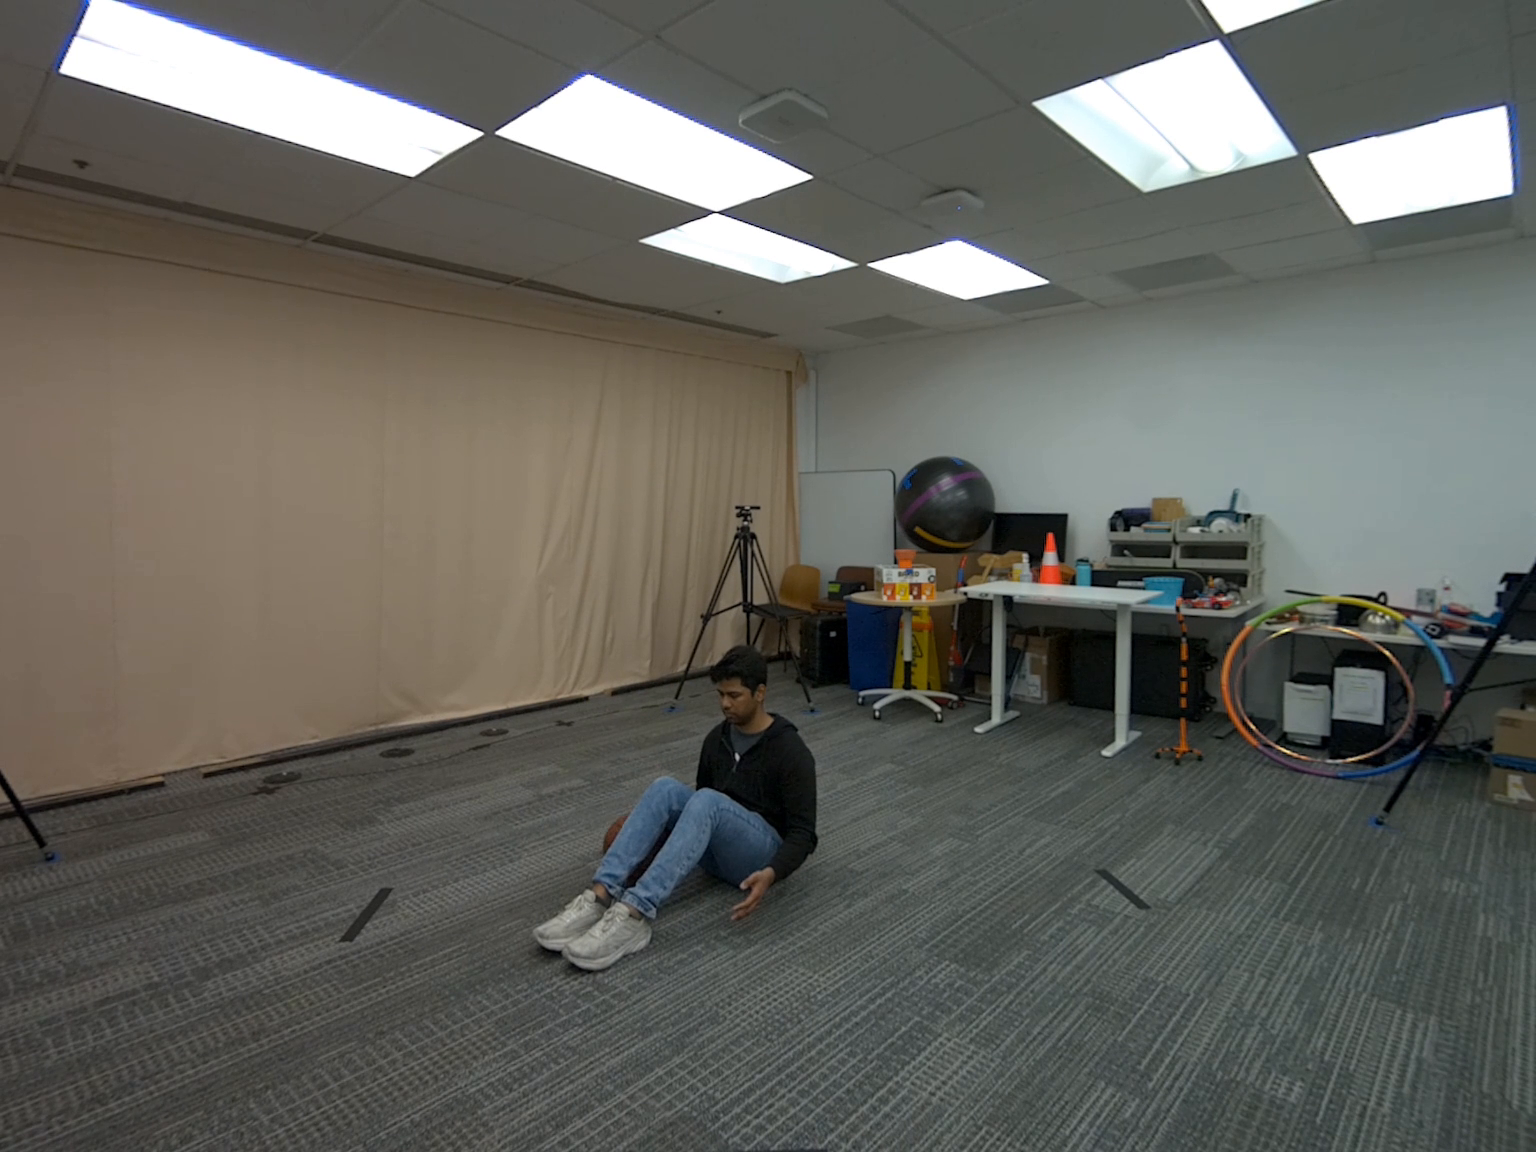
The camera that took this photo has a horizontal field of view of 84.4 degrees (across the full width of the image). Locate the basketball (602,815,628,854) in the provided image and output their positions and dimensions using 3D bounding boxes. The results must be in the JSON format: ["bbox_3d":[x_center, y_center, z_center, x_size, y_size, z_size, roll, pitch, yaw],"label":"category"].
[{"bbox_3d":[-0.489,0.996,3.110,0.236,0.235,0.237,0,4,-2],"label":"basketball"}]
